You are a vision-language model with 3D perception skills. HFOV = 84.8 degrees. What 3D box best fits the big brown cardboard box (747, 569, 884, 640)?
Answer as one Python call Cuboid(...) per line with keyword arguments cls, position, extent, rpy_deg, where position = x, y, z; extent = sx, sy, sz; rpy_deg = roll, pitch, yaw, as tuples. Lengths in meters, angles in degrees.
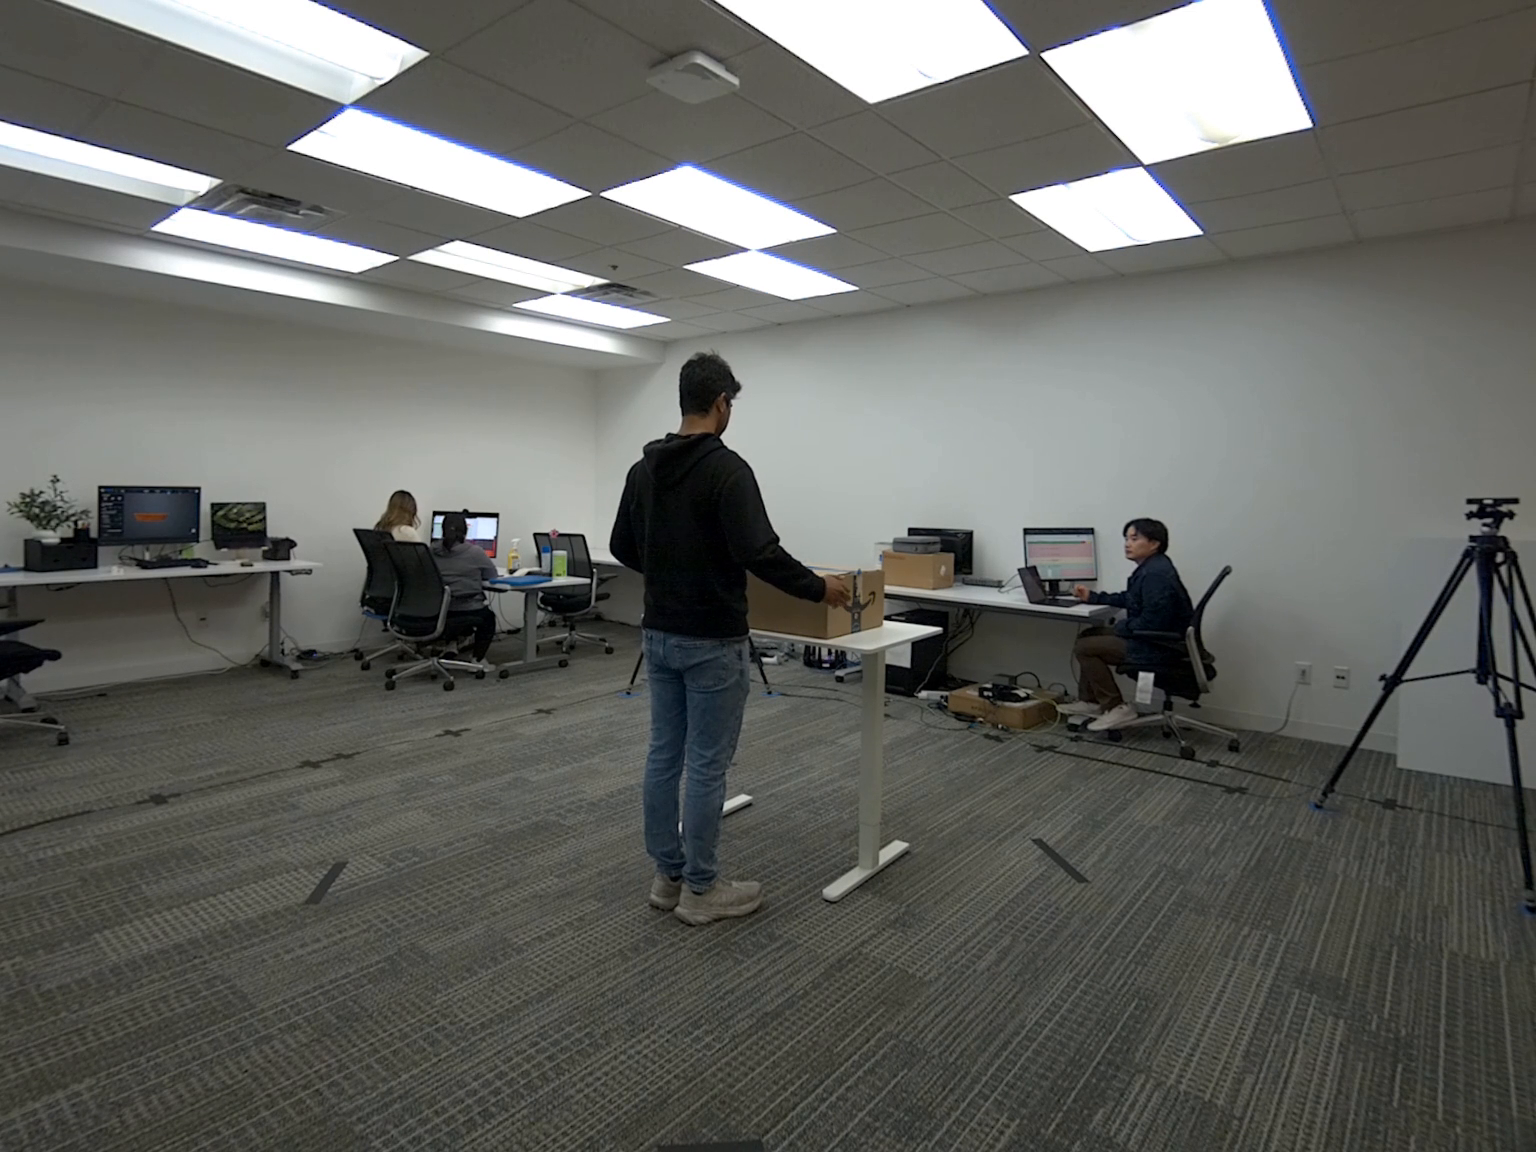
Cuboid(cls="big brown cardboard box", position=(0.078, 0.069, 3.228), extent=(0.608, 0.232, 0.406), rpy_deg=(6, 7, 35))
